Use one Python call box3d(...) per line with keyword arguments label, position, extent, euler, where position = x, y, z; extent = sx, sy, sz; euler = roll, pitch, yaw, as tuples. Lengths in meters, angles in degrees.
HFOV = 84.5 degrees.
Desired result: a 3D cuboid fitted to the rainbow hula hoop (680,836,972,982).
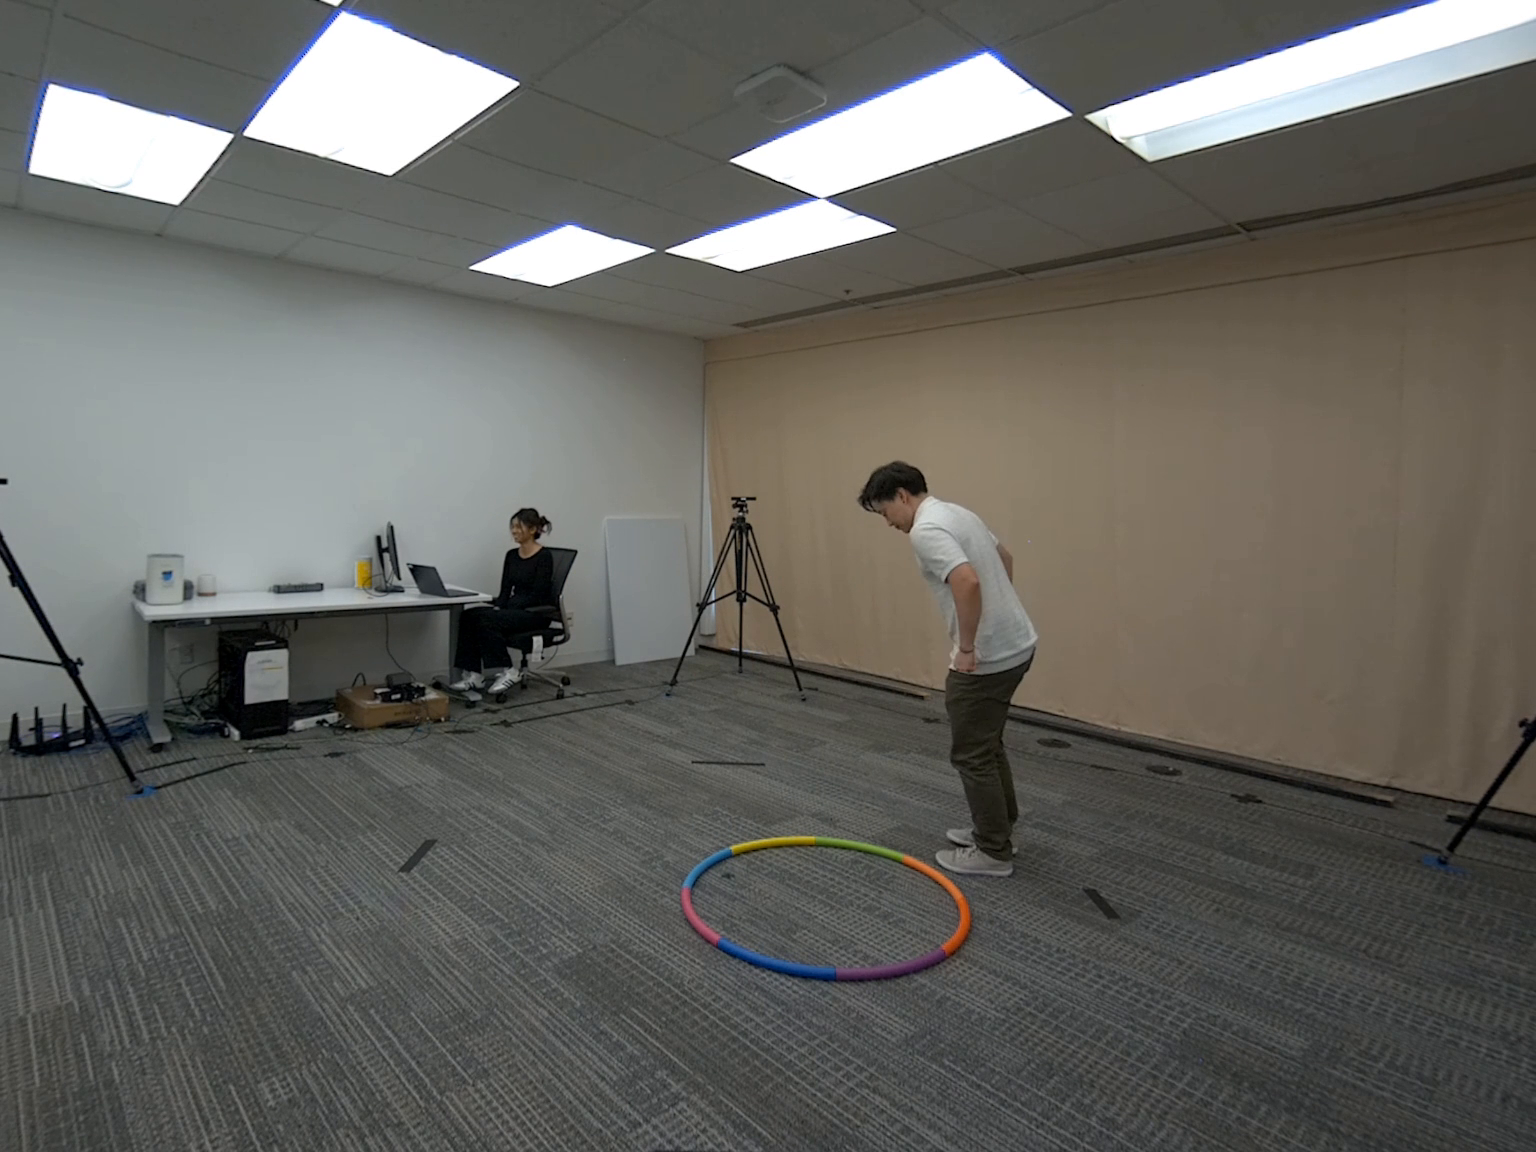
box3d(label="rainbow hula hoop", position=(0.180, 1.104, 2.922), extent=(0.978, 0.035, 0.982), euler=(1, 5, -1))
